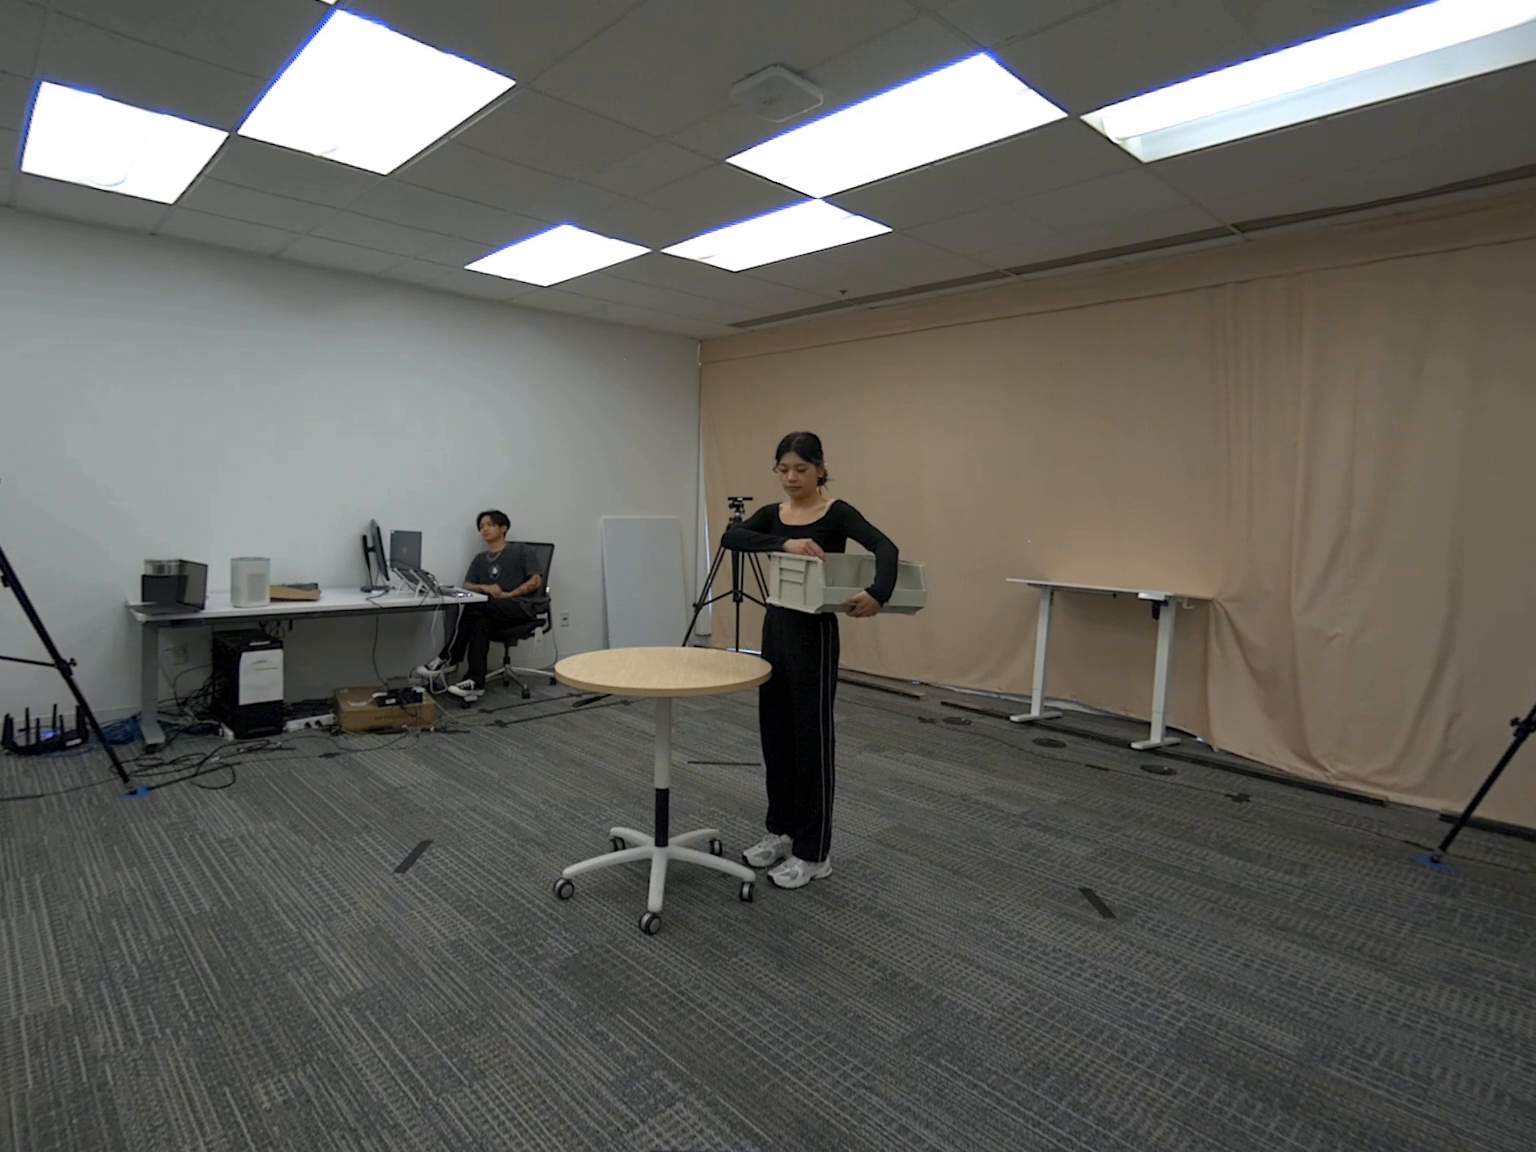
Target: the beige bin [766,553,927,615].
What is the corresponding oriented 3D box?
[{"bbox_3d":[0.255,0.031,2.870,0.414,0.189,0.385,3,4,-27],"label":"beige bin"}]
